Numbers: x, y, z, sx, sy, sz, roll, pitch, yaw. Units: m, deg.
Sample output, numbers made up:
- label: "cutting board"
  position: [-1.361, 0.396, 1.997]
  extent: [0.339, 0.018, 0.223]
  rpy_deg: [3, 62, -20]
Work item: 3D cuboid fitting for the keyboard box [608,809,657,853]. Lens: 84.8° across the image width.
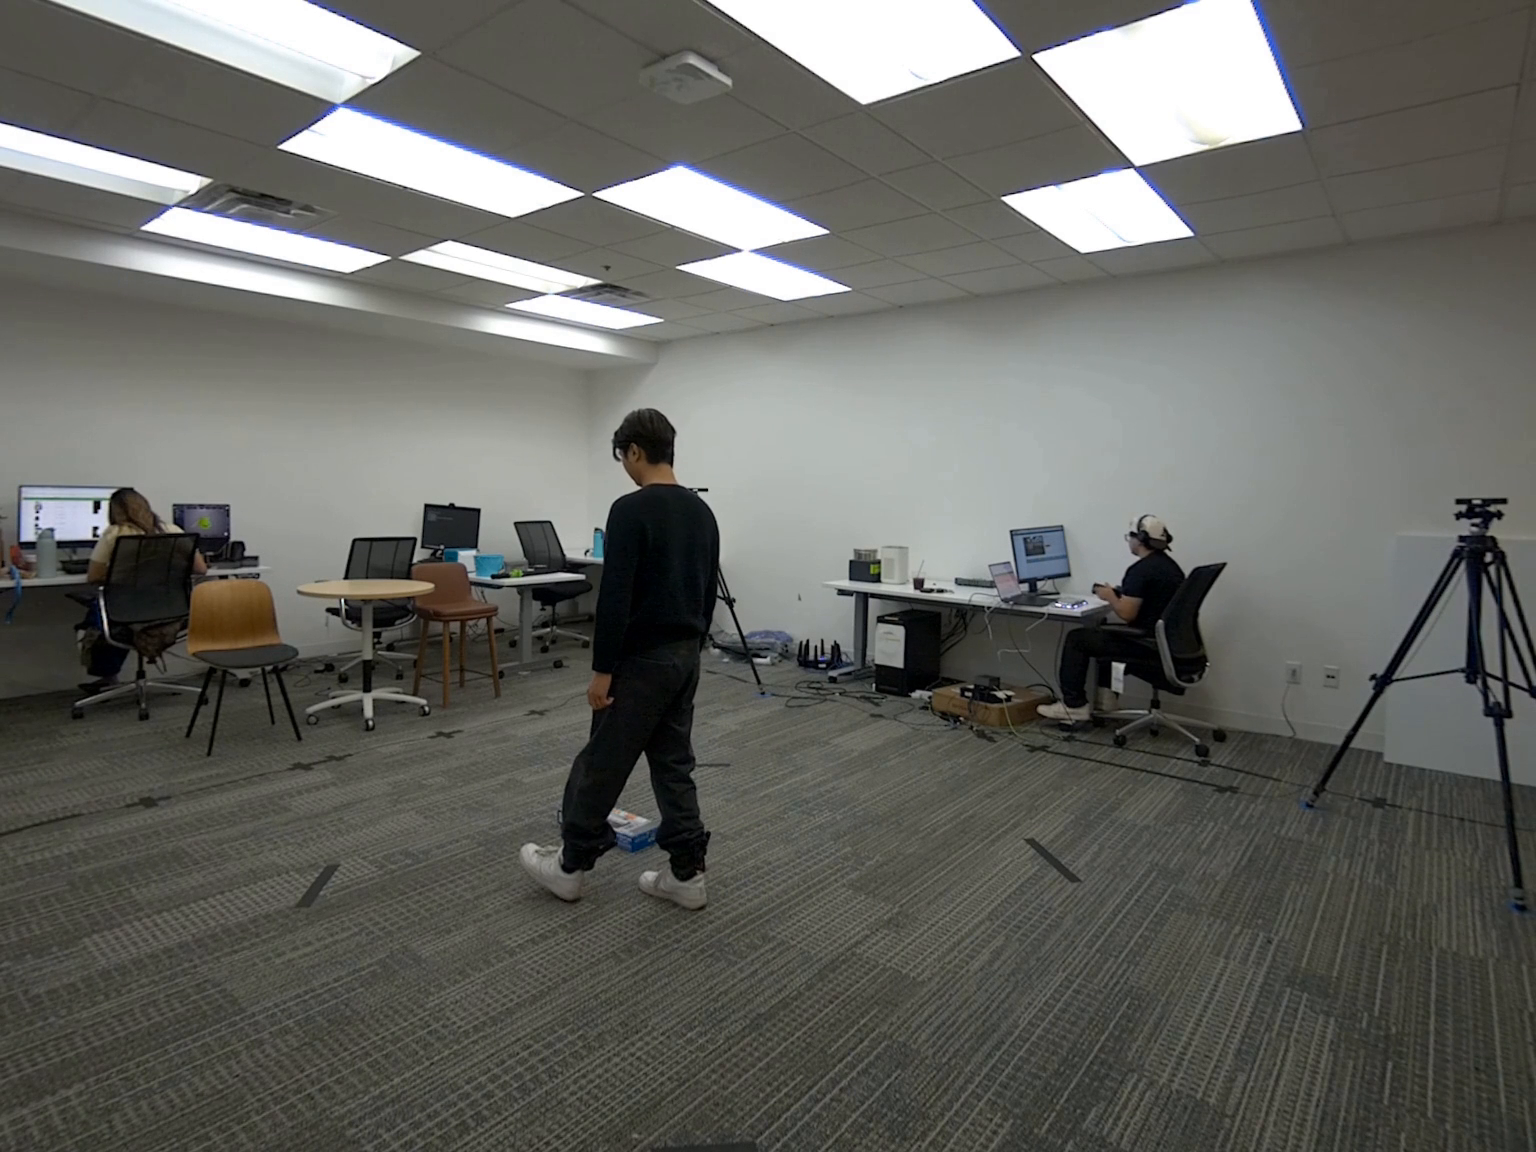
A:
- label: "keyboard box"
  position: [-0.651, 0.998, 3.442]
  extent: [0.451, 0.059, 0.171]
  rpy_deg: [6, 6, 38]
